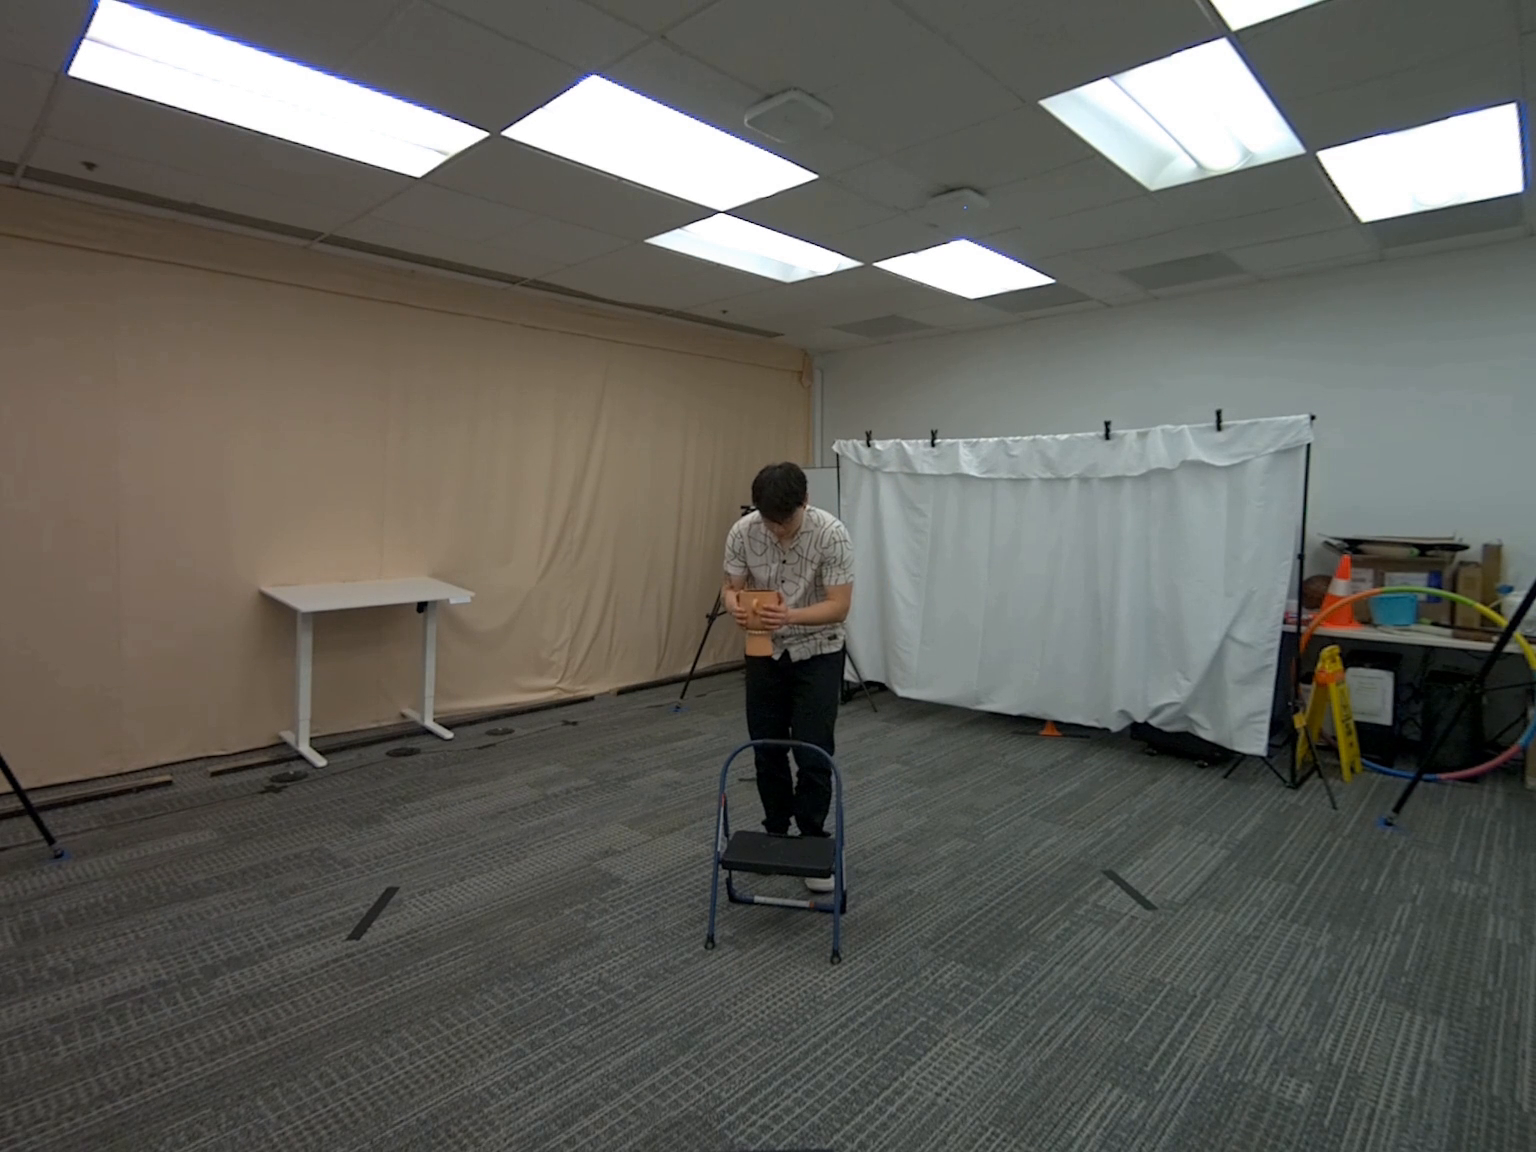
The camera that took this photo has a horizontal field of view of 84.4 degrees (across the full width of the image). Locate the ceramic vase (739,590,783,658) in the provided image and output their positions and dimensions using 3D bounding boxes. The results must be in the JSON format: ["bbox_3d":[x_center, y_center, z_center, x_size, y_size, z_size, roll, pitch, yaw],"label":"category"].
[{"bbox_3d":[-0.022,0.164,2.931,0.154,0.219,0.139,-5,6,-44],"label":"ceramic vase"}]
